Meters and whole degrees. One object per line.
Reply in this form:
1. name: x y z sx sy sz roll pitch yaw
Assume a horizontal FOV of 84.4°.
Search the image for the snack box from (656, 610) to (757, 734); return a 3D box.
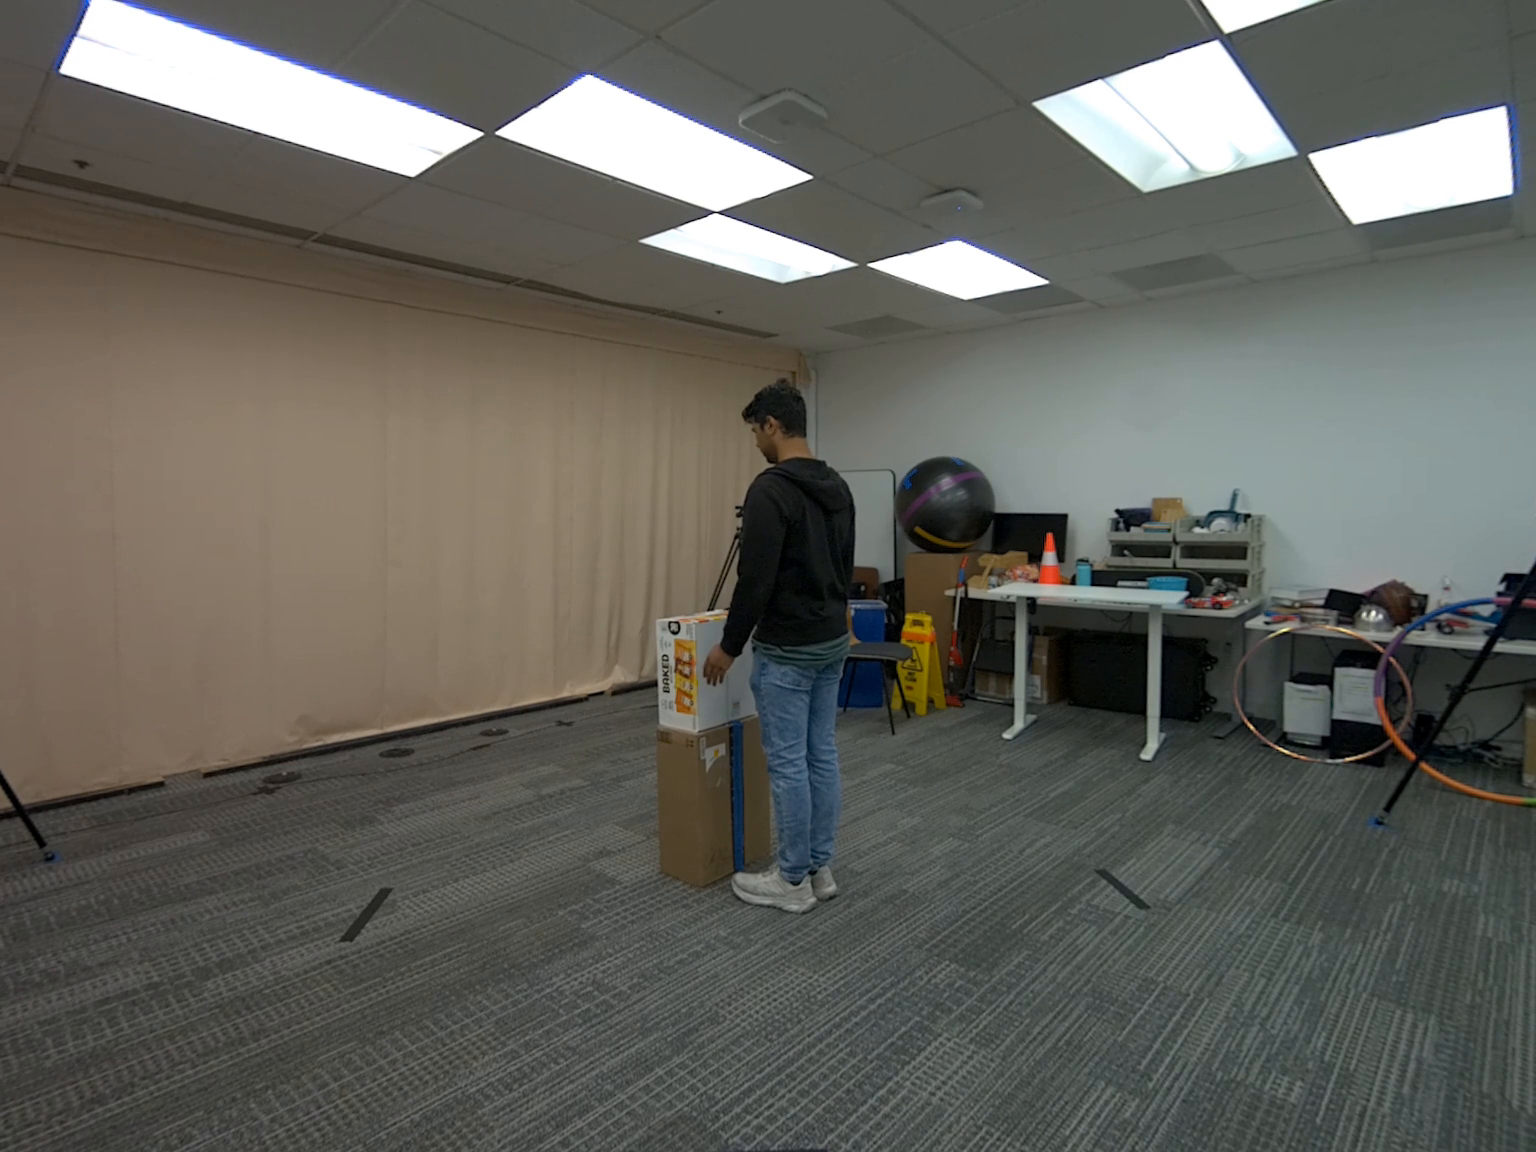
1. snack box: -0.228 0.353 3.254 0.212 0.404 0.330 0 3 41
